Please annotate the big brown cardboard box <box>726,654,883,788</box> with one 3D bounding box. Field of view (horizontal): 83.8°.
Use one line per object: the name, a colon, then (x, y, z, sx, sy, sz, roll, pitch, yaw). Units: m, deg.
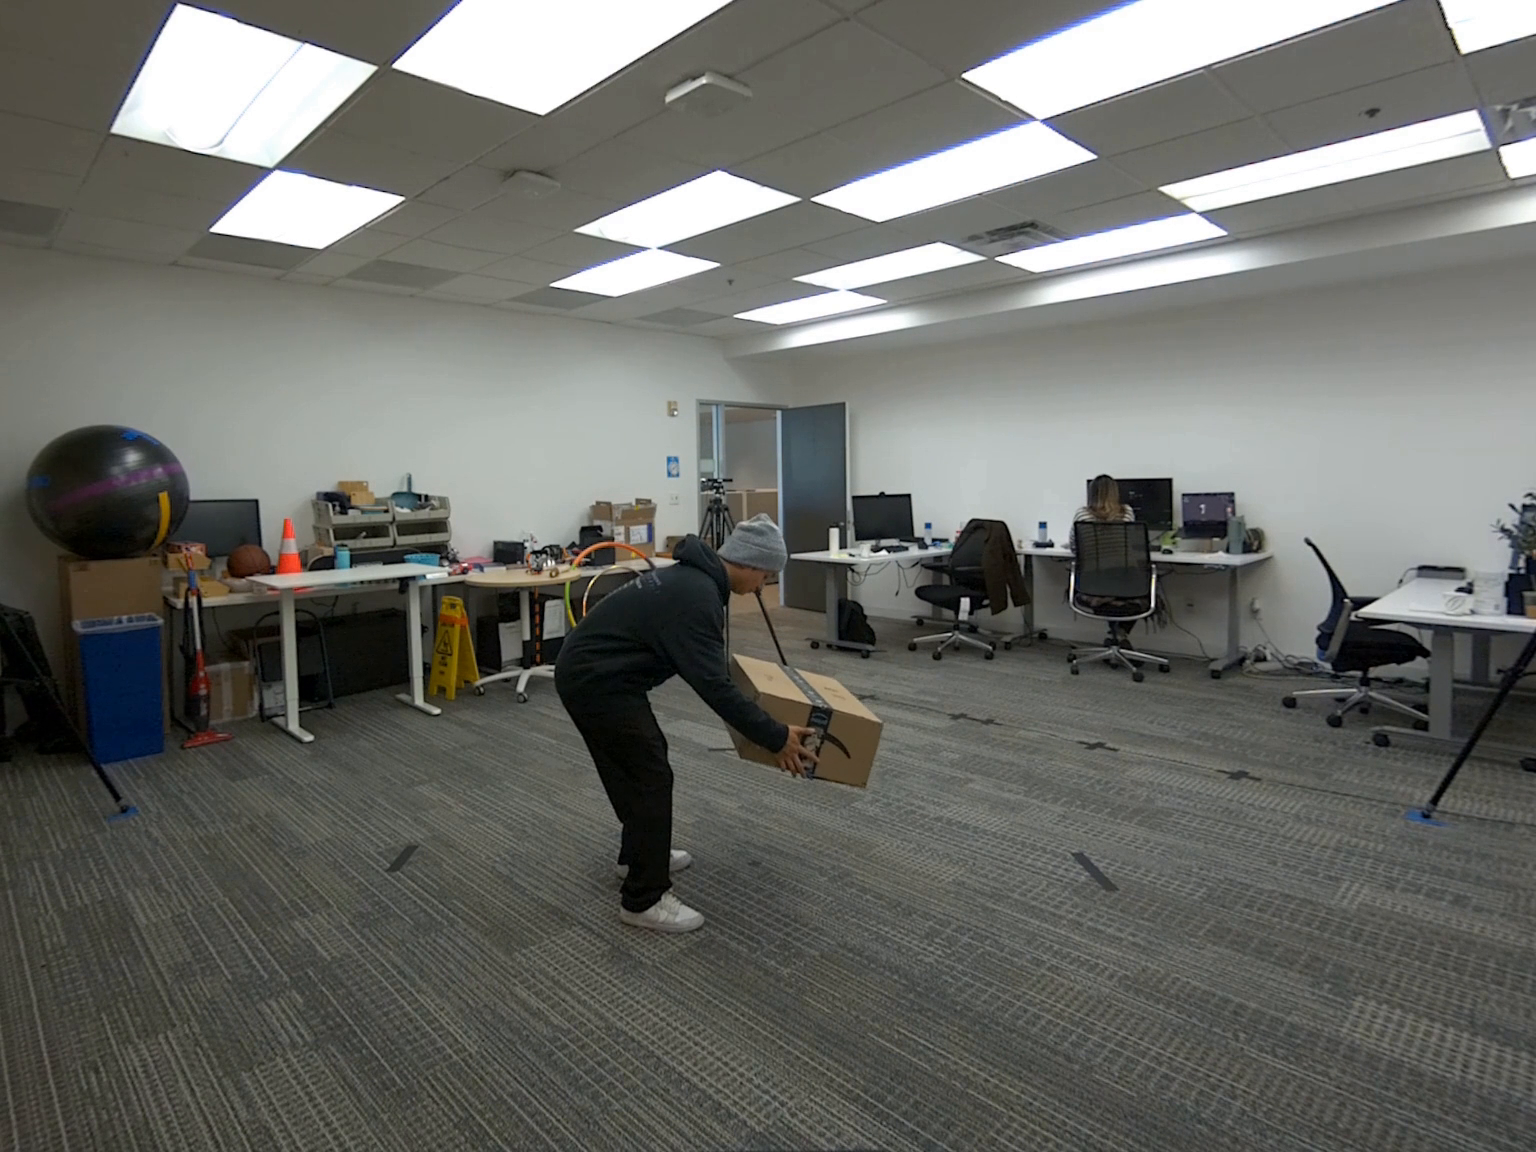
big brown cardboard box: (0.086, 0.476, 2.901, 0.413, 0.232, 0.597, 16, 4, -11)
